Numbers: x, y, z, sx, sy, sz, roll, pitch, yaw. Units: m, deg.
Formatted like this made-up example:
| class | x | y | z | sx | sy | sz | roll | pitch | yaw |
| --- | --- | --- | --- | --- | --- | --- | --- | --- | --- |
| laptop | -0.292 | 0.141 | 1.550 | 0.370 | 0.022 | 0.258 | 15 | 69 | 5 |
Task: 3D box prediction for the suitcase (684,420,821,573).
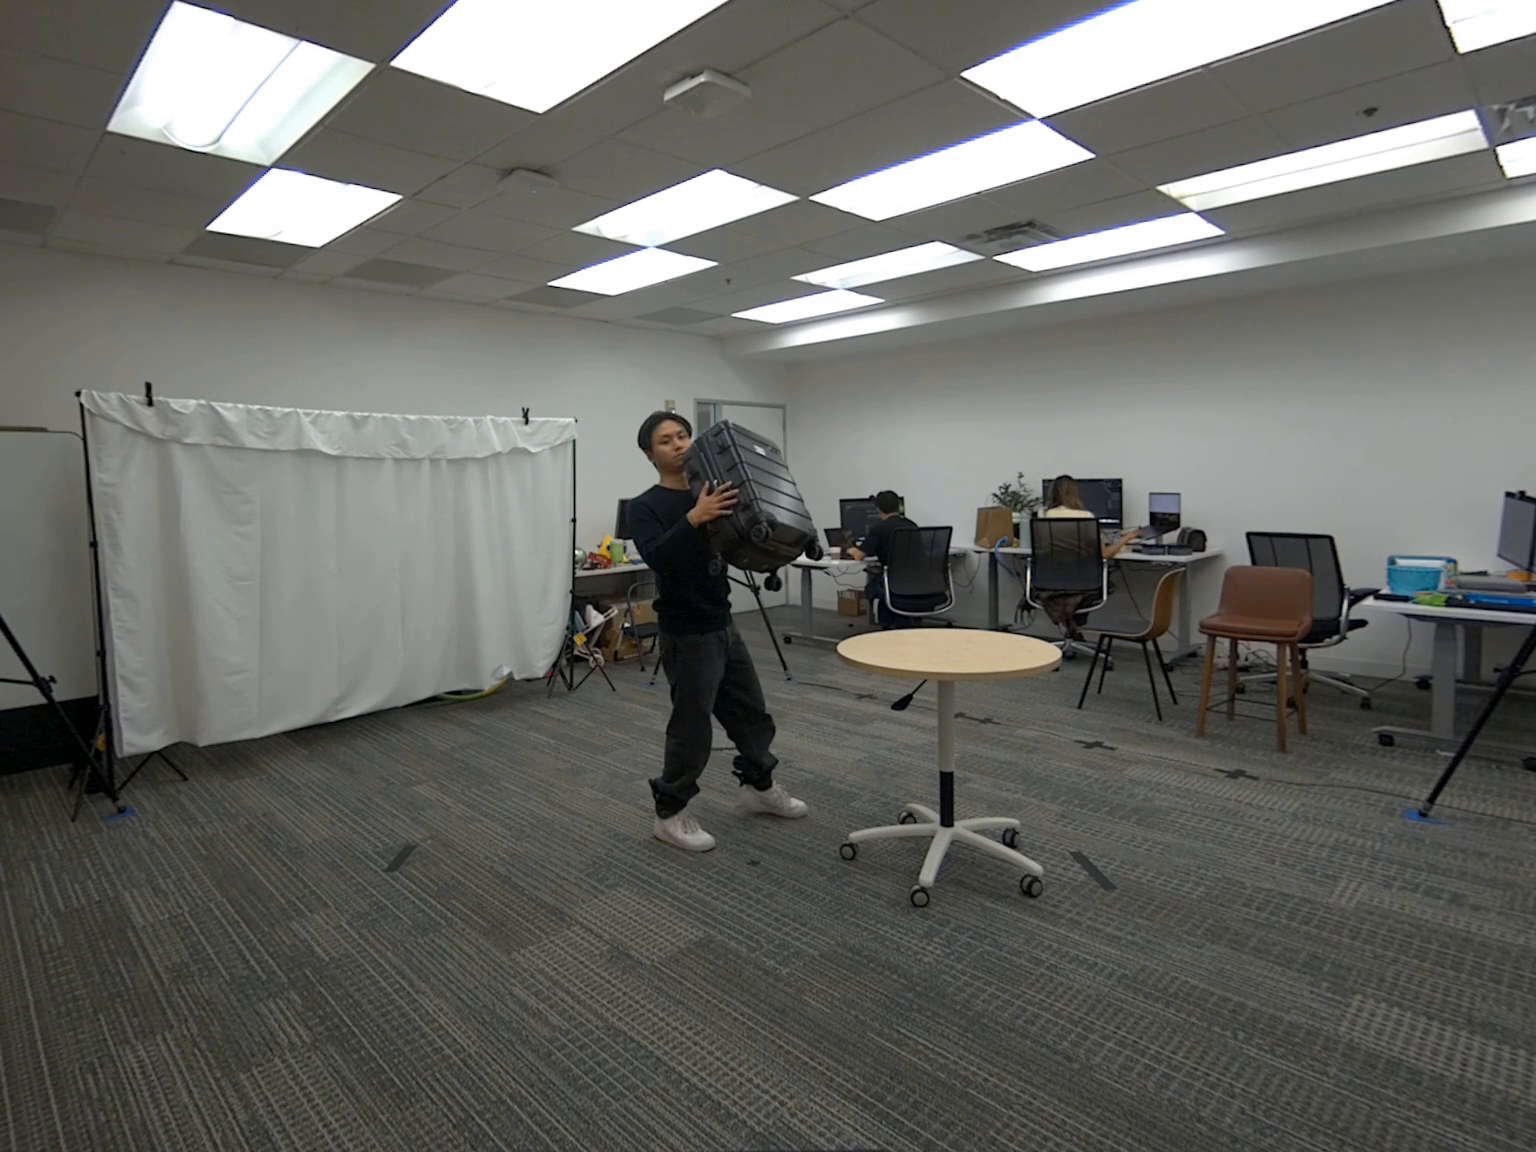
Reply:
| class | x | y | z | sx | sy | sz | roll | pitch | yaw |
| --- | --- | --- | --- | --- | --- | --- | --- | --- | --- |
| suitcase | -0.065 | -0.271 | 3.065 | 0.249 | 0.566 | 0.362 | -37 | -35 | 28 |
